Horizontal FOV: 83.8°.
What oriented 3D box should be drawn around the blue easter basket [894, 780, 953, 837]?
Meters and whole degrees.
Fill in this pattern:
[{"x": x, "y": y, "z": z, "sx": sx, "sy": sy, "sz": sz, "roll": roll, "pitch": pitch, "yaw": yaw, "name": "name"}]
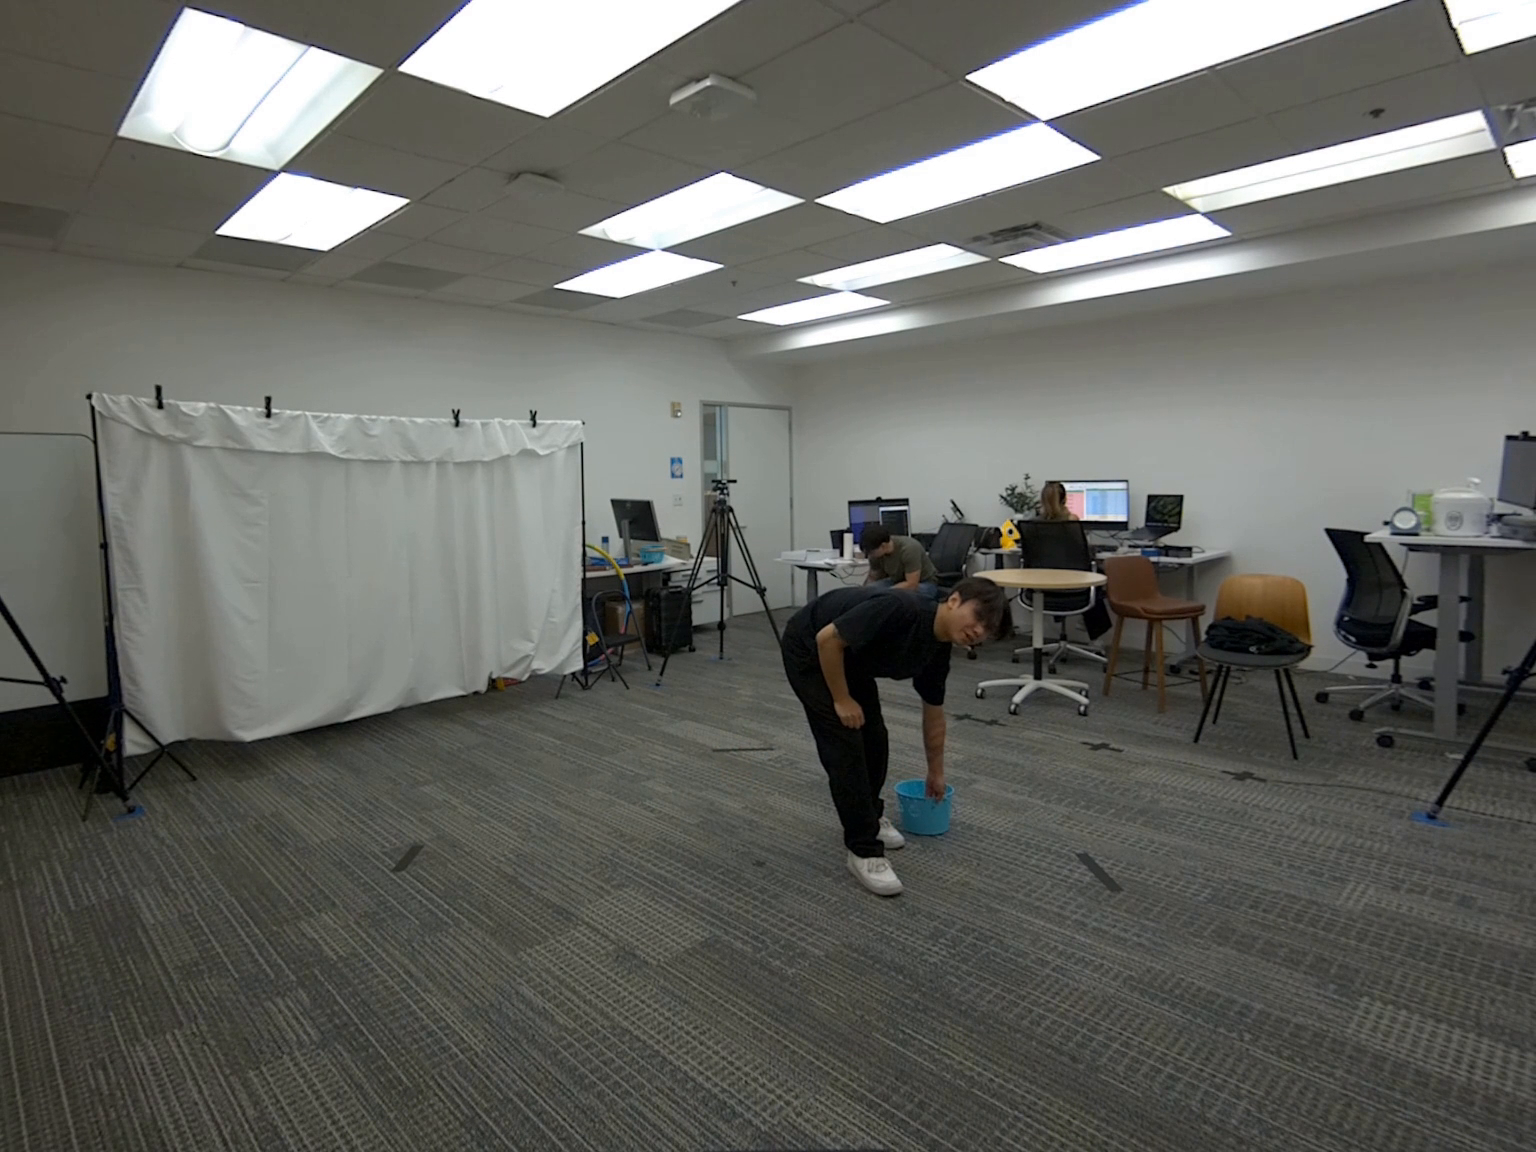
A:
[{"x": 0.620, "y": 0.920, "z": 3.409, "sx": 0.243, "sy": 0.155, "sz": 0.244, "roll": -2, "pitch": 3, "yaw": -2, "name": "blue easter basket"}]
